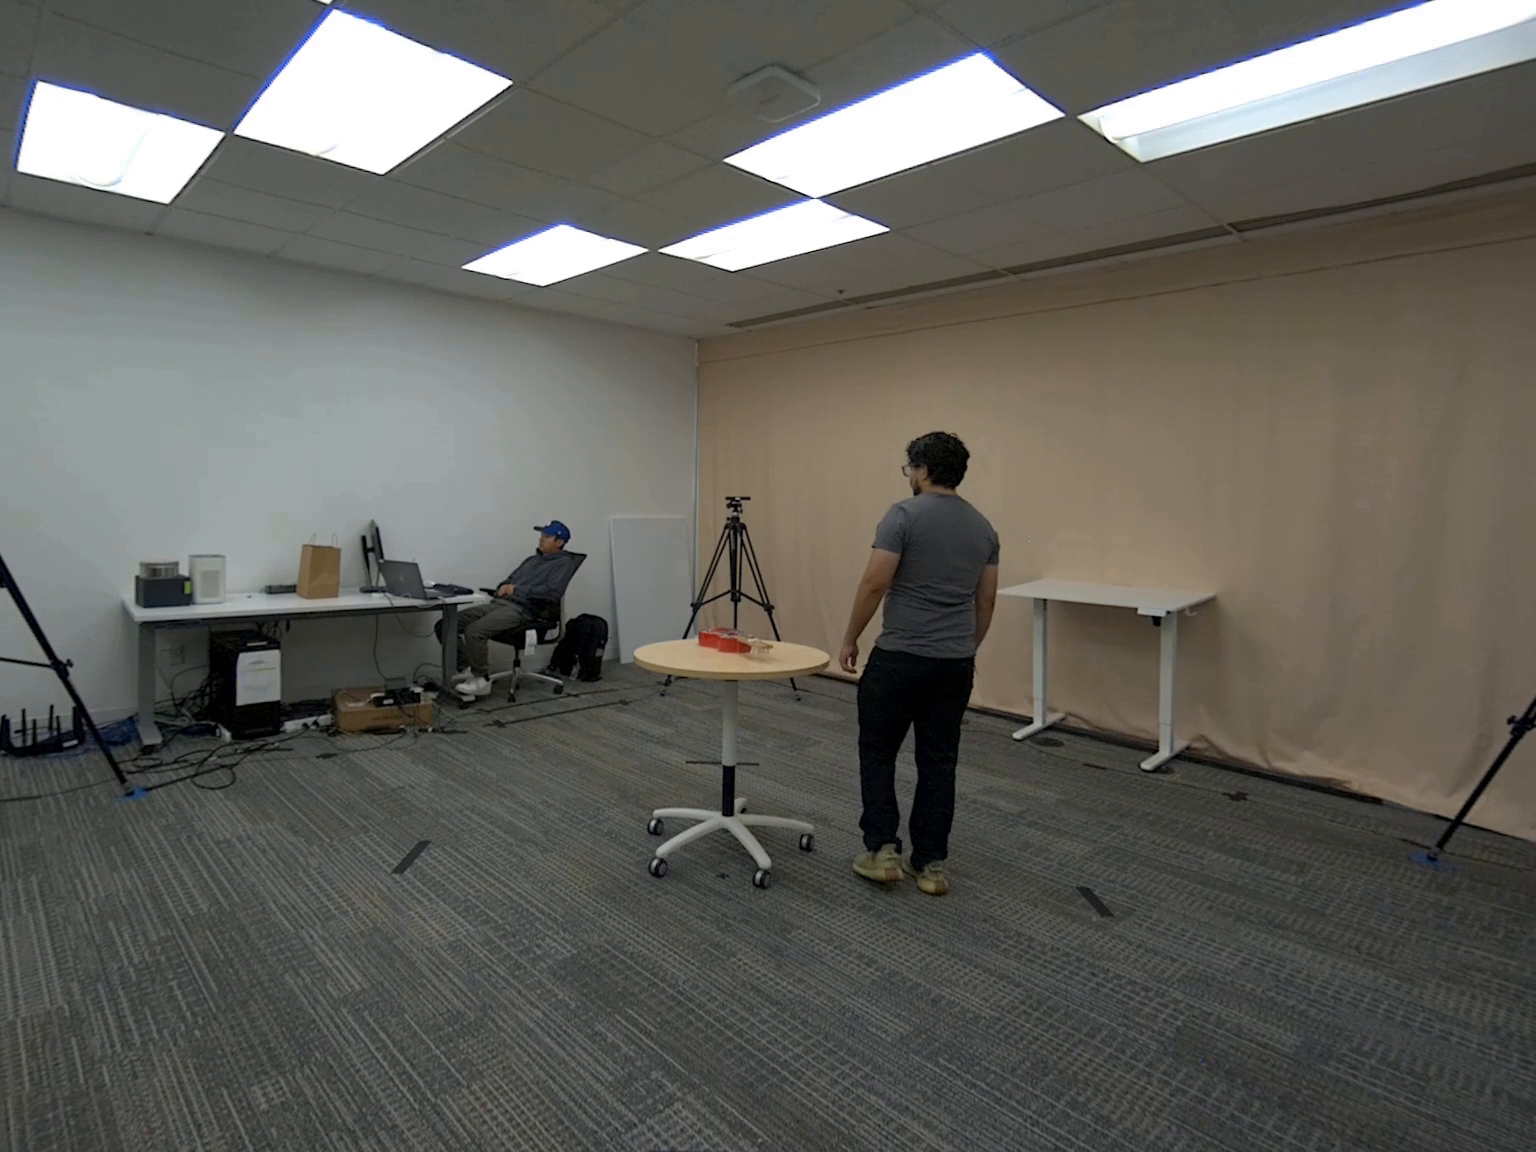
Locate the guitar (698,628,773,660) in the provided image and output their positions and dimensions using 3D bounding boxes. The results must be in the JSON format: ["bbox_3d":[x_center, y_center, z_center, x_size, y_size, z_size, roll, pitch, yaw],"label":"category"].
[{"bbox_3d":[-0.148,0.271,3.342,0.190,0.070,0.505,1,4,-16],"label":"guitar"}]
